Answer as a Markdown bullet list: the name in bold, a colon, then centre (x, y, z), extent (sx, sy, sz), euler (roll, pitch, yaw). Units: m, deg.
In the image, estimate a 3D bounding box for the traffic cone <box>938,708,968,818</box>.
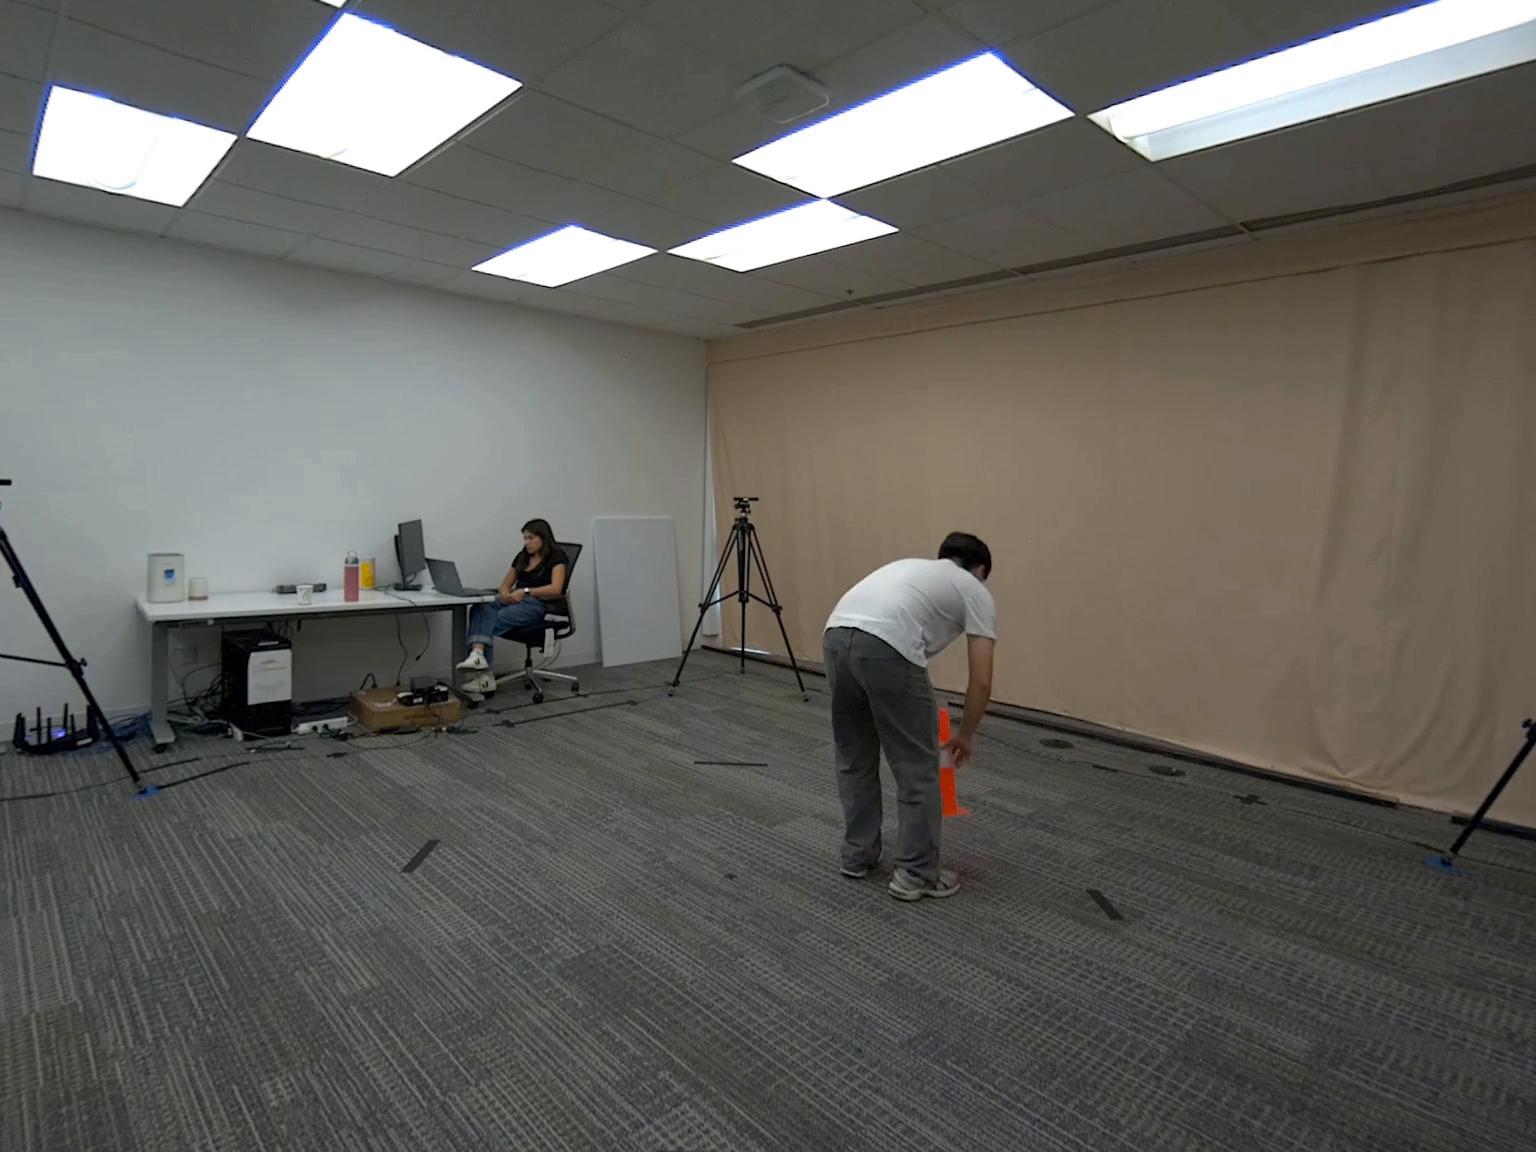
- **traffic cone**: centre (0.672, 0.696, 3.279), extent (0.200, 0.384, 0.208), euler (7, -2, -42)
